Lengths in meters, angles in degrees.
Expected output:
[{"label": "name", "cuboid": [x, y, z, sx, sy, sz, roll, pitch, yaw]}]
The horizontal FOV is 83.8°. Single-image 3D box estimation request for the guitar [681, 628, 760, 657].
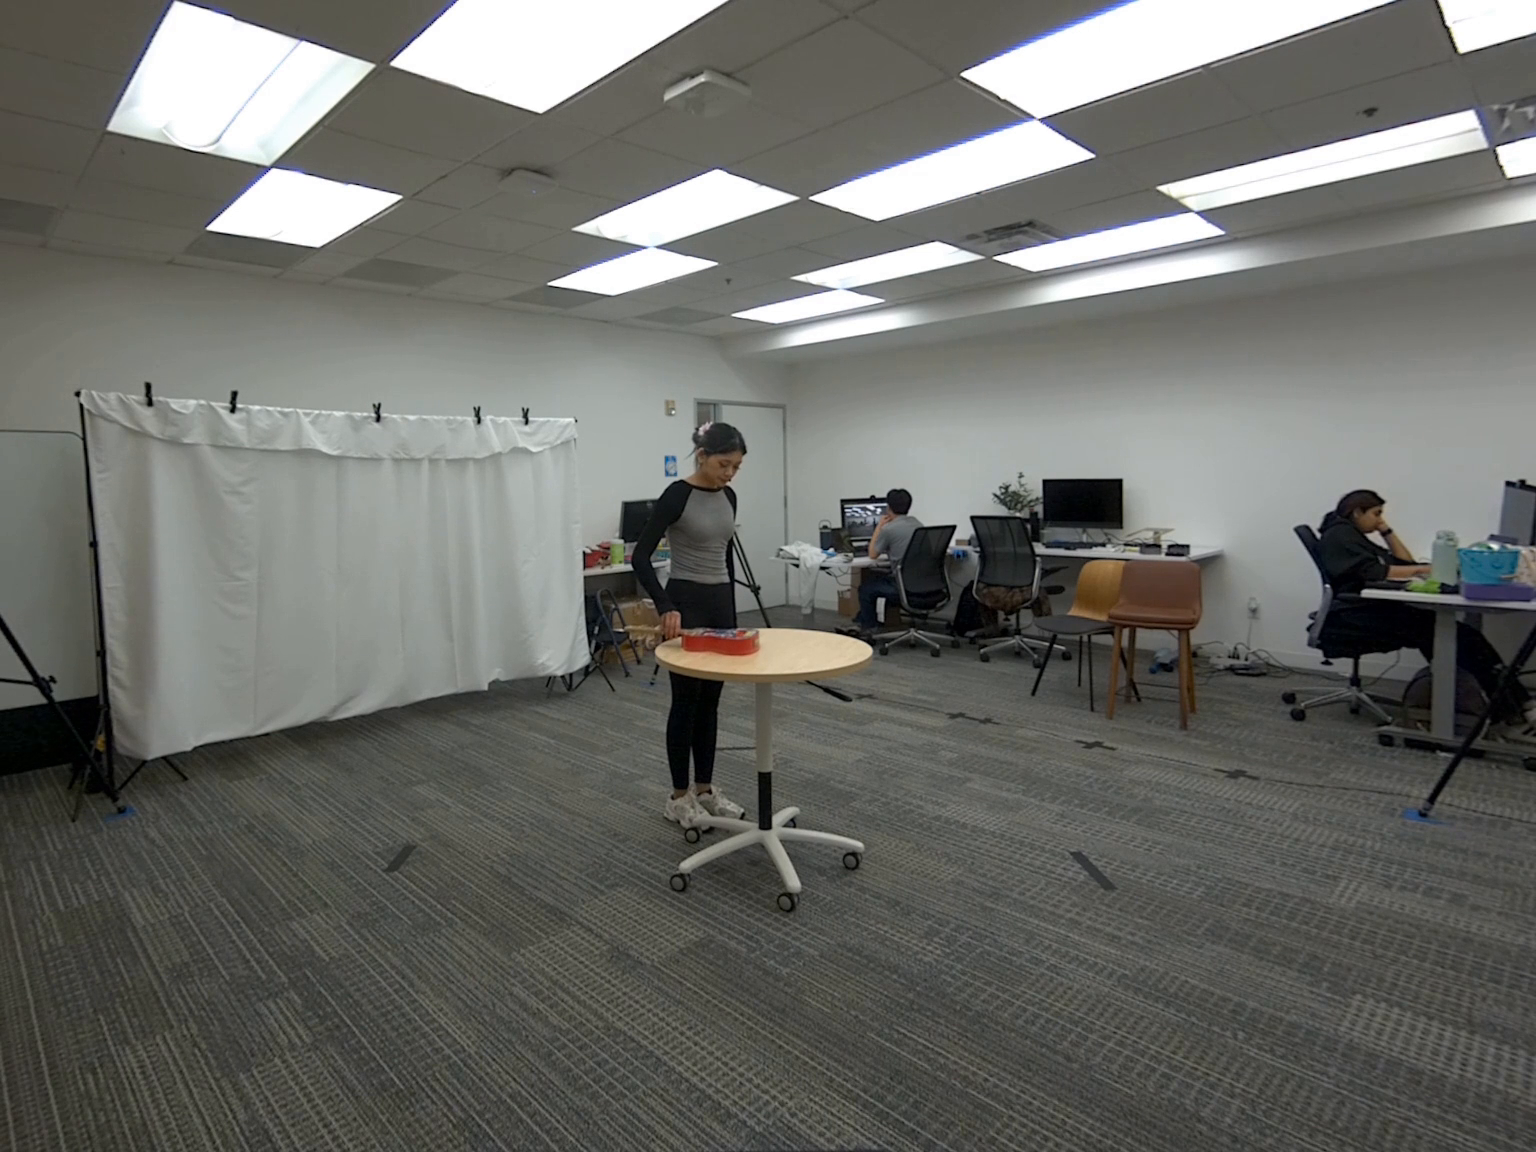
[{"label": "guitar", "cuboid": [-0.261, 0.224, 3.086, 0.510, 0.070, 0.190, 3, 9, 25]}]
